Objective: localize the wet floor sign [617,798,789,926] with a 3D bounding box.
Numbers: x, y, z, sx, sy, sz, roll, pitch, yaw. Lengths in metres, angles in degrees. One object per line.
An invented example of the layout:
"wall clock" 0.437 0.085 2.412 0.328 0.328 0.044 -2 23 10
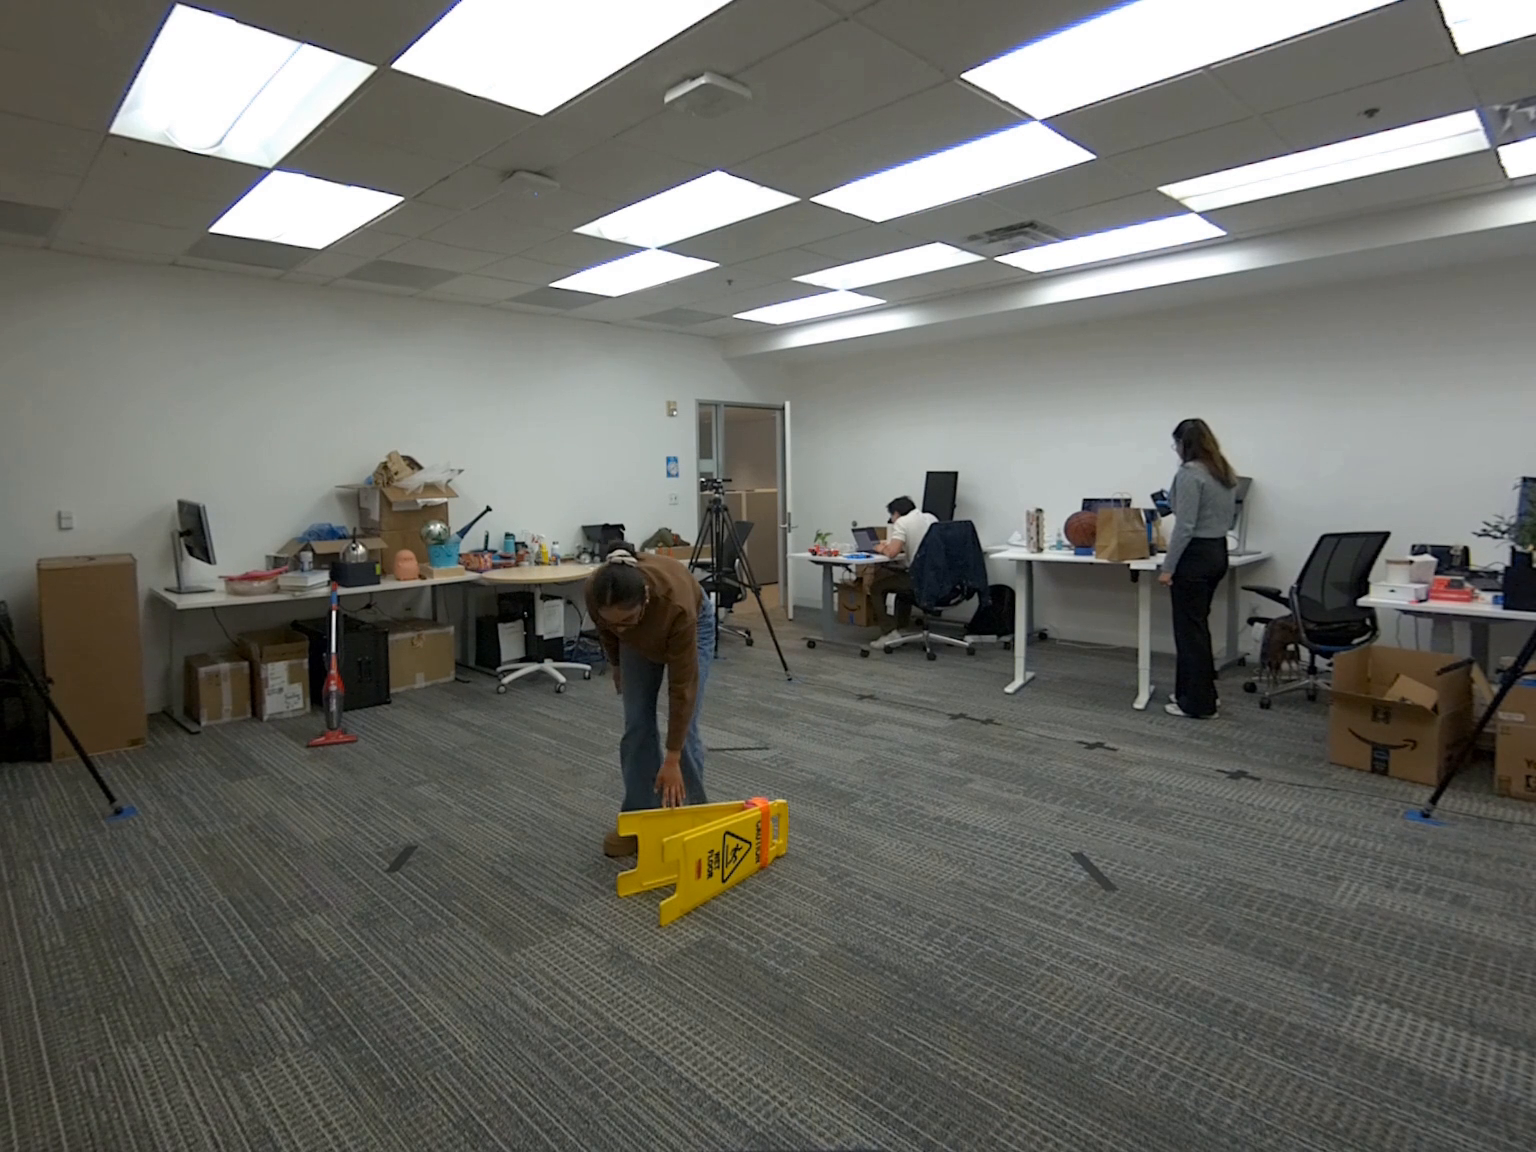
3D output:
"wet floor sign" -0.180 0.934 2.971 0.628 0.281 0.299 -2 5 -40
